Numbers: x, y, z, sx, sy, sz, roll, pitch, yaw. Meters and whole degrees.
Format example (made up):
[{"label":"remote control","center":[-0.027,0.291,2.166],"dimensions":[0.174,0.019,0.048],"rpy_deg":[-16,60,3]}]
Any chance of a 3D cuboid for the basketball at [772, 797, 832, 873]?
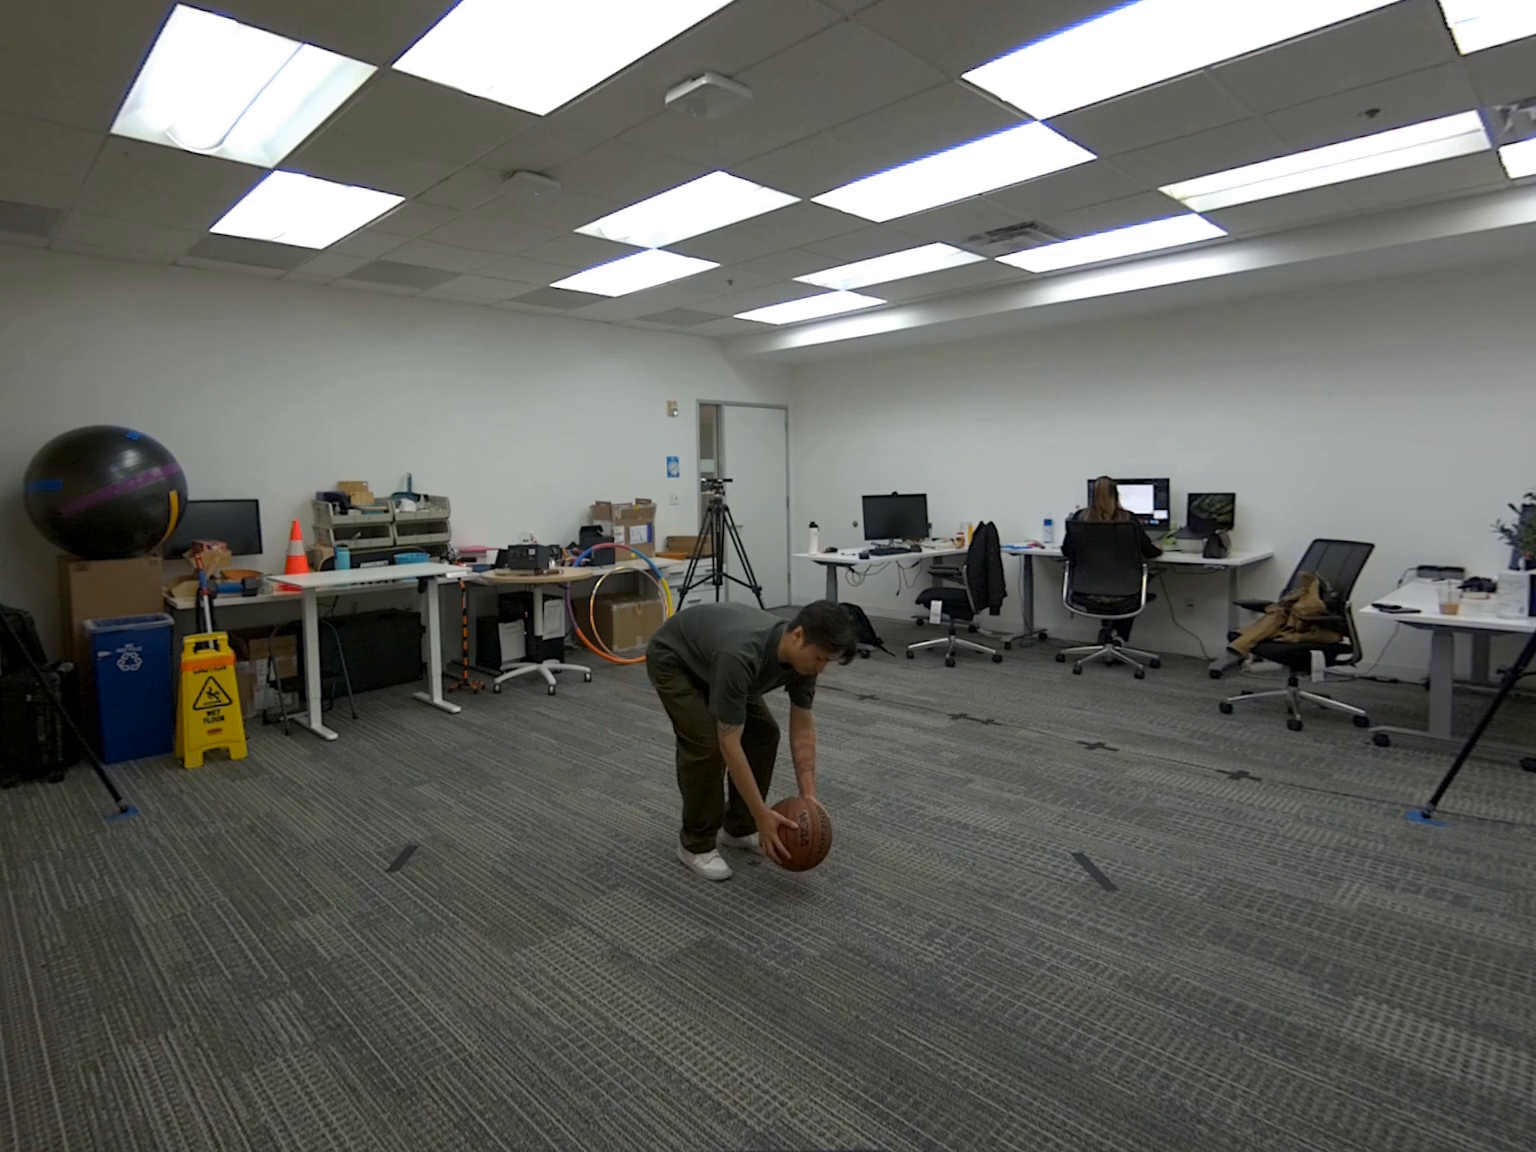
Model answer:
[{"label":"basketball","center":[0.096,0.855,2.881],"dimensions":[0.236,0.235,0.237],"rpy_deg":[-1,5,-2]}]
